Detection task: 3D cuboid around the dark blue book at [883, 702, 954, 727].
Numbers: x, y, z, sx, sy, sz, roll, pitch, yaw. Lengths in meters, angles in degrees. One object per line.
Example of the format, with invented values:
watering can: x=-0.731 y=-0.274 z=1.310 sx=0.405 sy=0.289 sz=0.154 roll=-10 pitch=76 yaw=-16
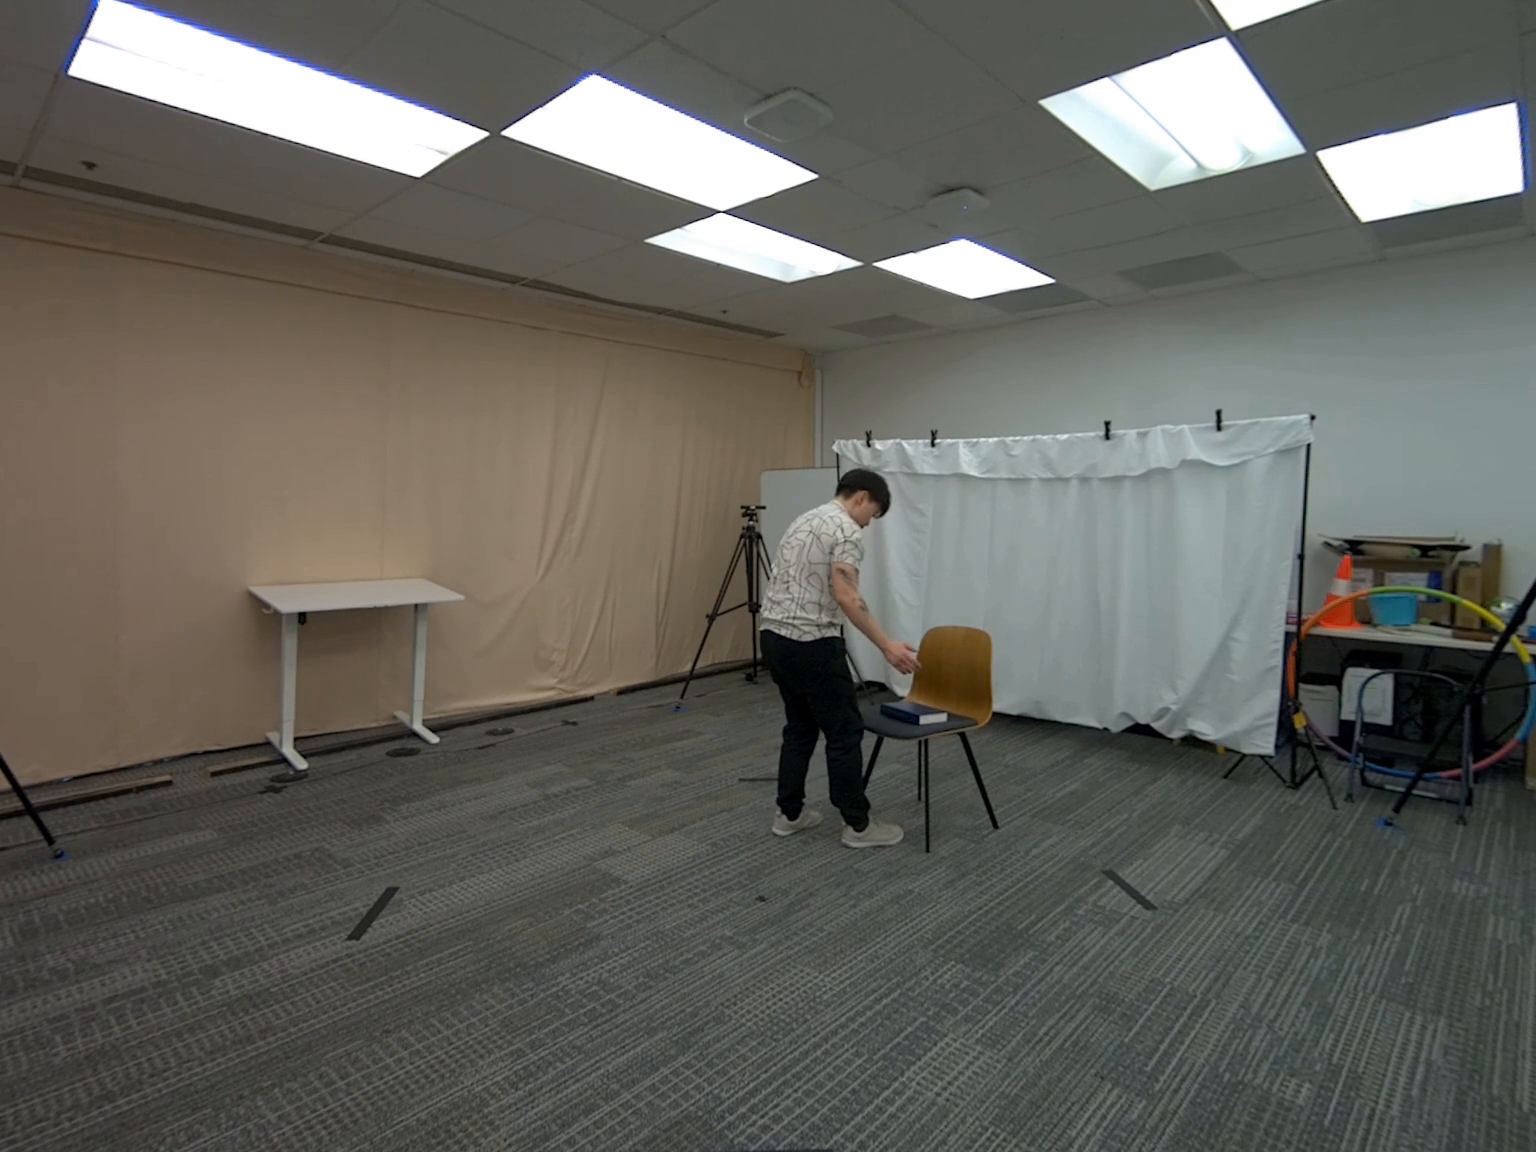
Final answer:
dark blue book: x=0.635 y=0.585 z=3.602 sx=0.159 sy=0.045 sz=0.252 roll=0 pitch=3 yaw=-32
